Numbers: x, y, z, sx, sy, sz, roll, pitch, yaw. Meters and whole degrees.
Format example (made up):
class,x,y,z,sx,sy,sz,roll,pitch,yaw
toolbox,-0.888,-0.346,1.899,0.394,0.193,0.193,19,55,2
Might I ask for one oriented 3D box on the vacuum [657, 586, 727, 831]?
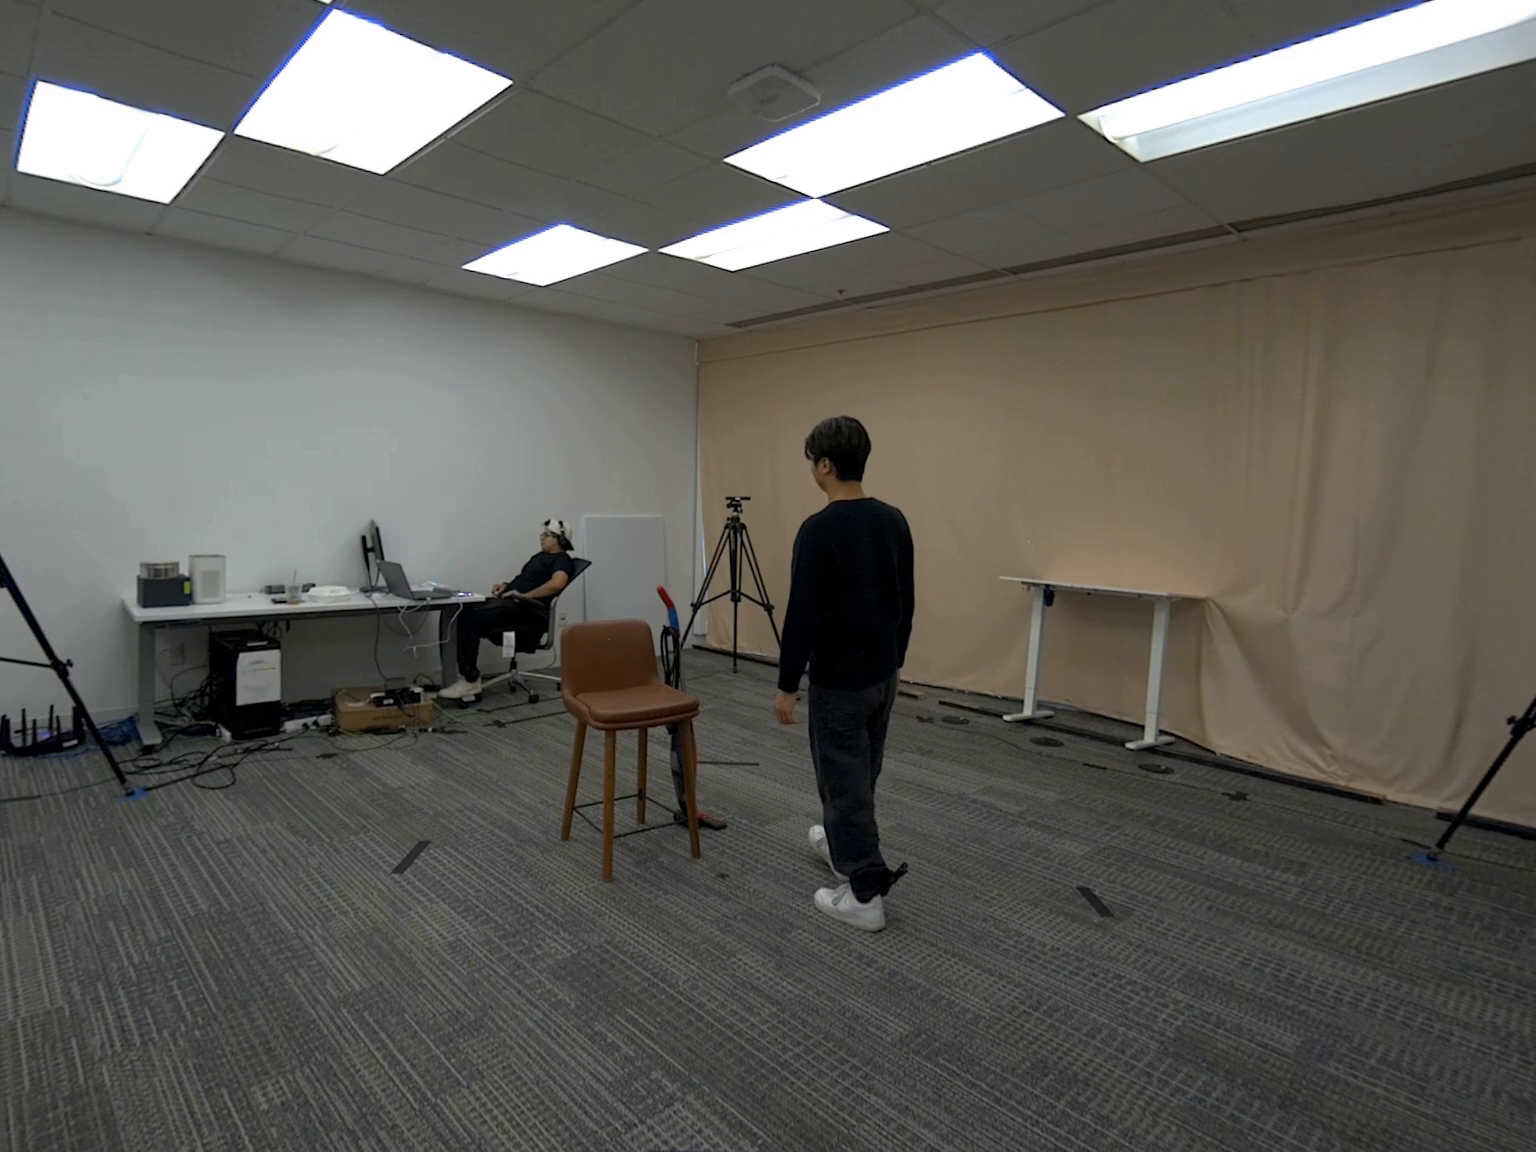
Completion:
class,x,y,z,sx,sy,sz,roll,pitch,yaw
vacuum,-0.385,0.558,3.512,0.259,1.039,0.142,4,16,44
